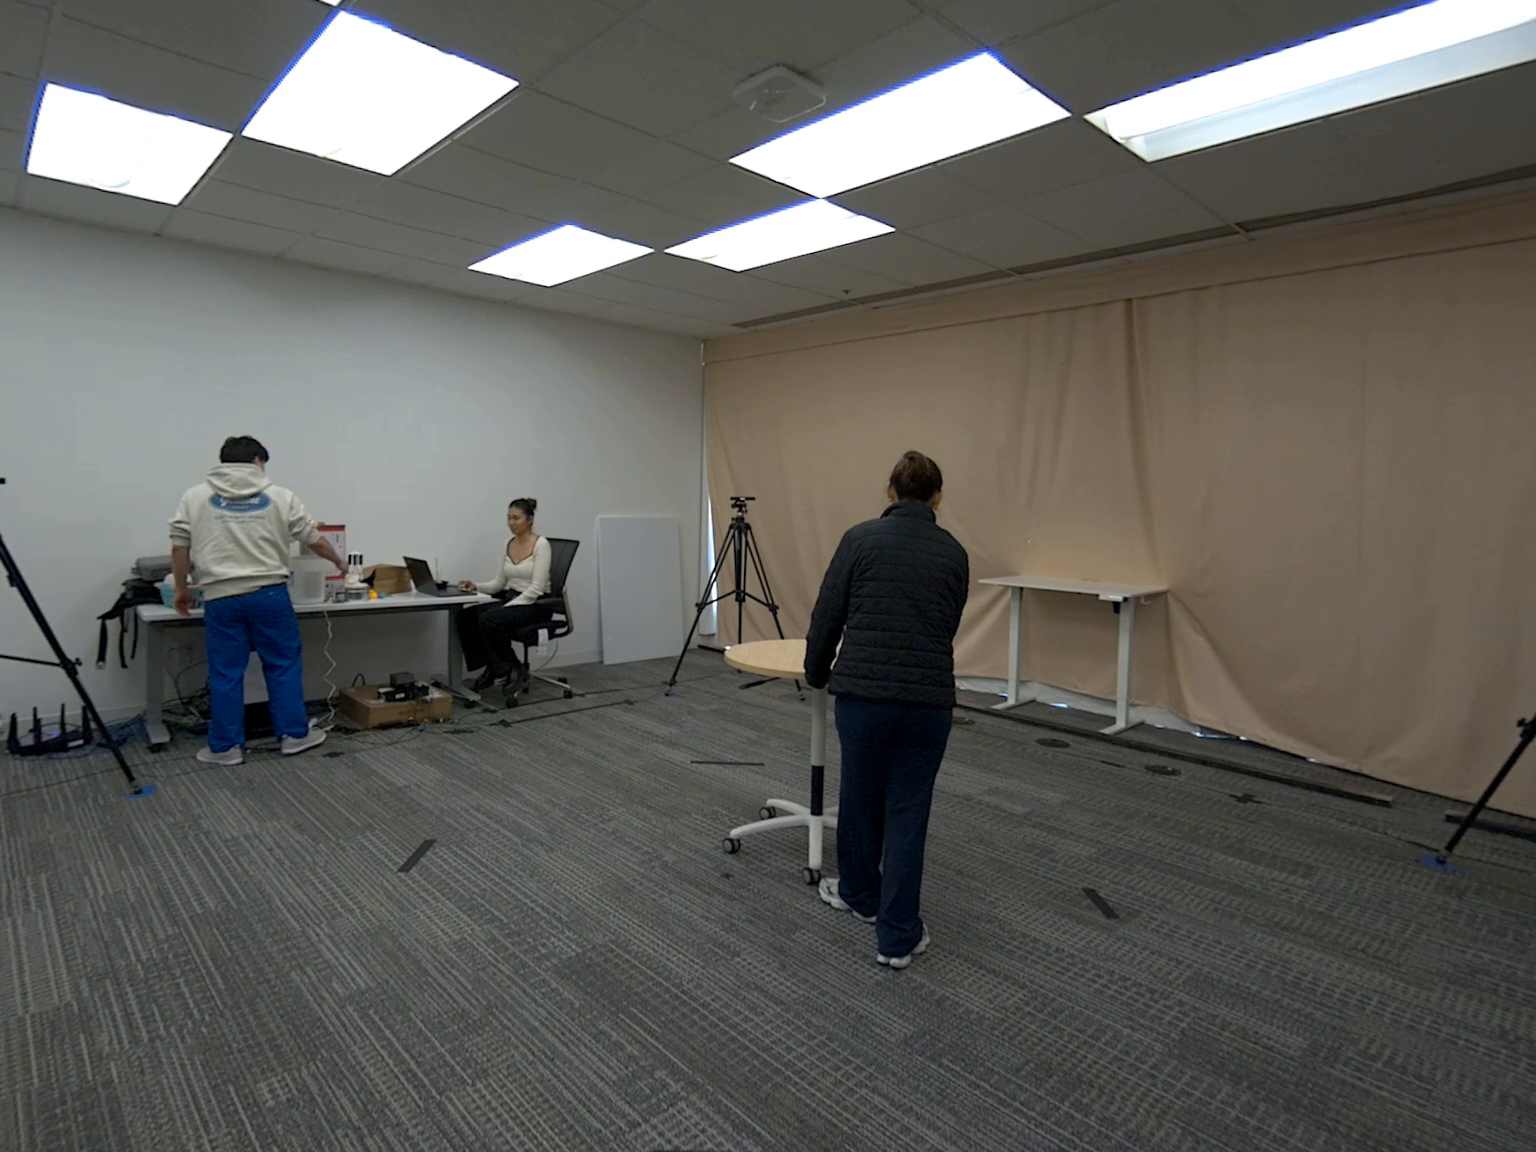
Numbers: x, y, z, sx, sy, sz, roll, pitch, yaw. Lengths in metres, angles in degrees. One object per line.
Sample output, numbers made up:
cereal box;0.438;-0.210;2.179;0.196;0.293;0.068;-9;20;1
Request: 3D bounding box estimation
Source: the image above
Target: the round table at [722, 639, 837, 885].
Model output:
round table;0.188;0.703;3.335;0.784;0.785;0.787;1;3;-1
